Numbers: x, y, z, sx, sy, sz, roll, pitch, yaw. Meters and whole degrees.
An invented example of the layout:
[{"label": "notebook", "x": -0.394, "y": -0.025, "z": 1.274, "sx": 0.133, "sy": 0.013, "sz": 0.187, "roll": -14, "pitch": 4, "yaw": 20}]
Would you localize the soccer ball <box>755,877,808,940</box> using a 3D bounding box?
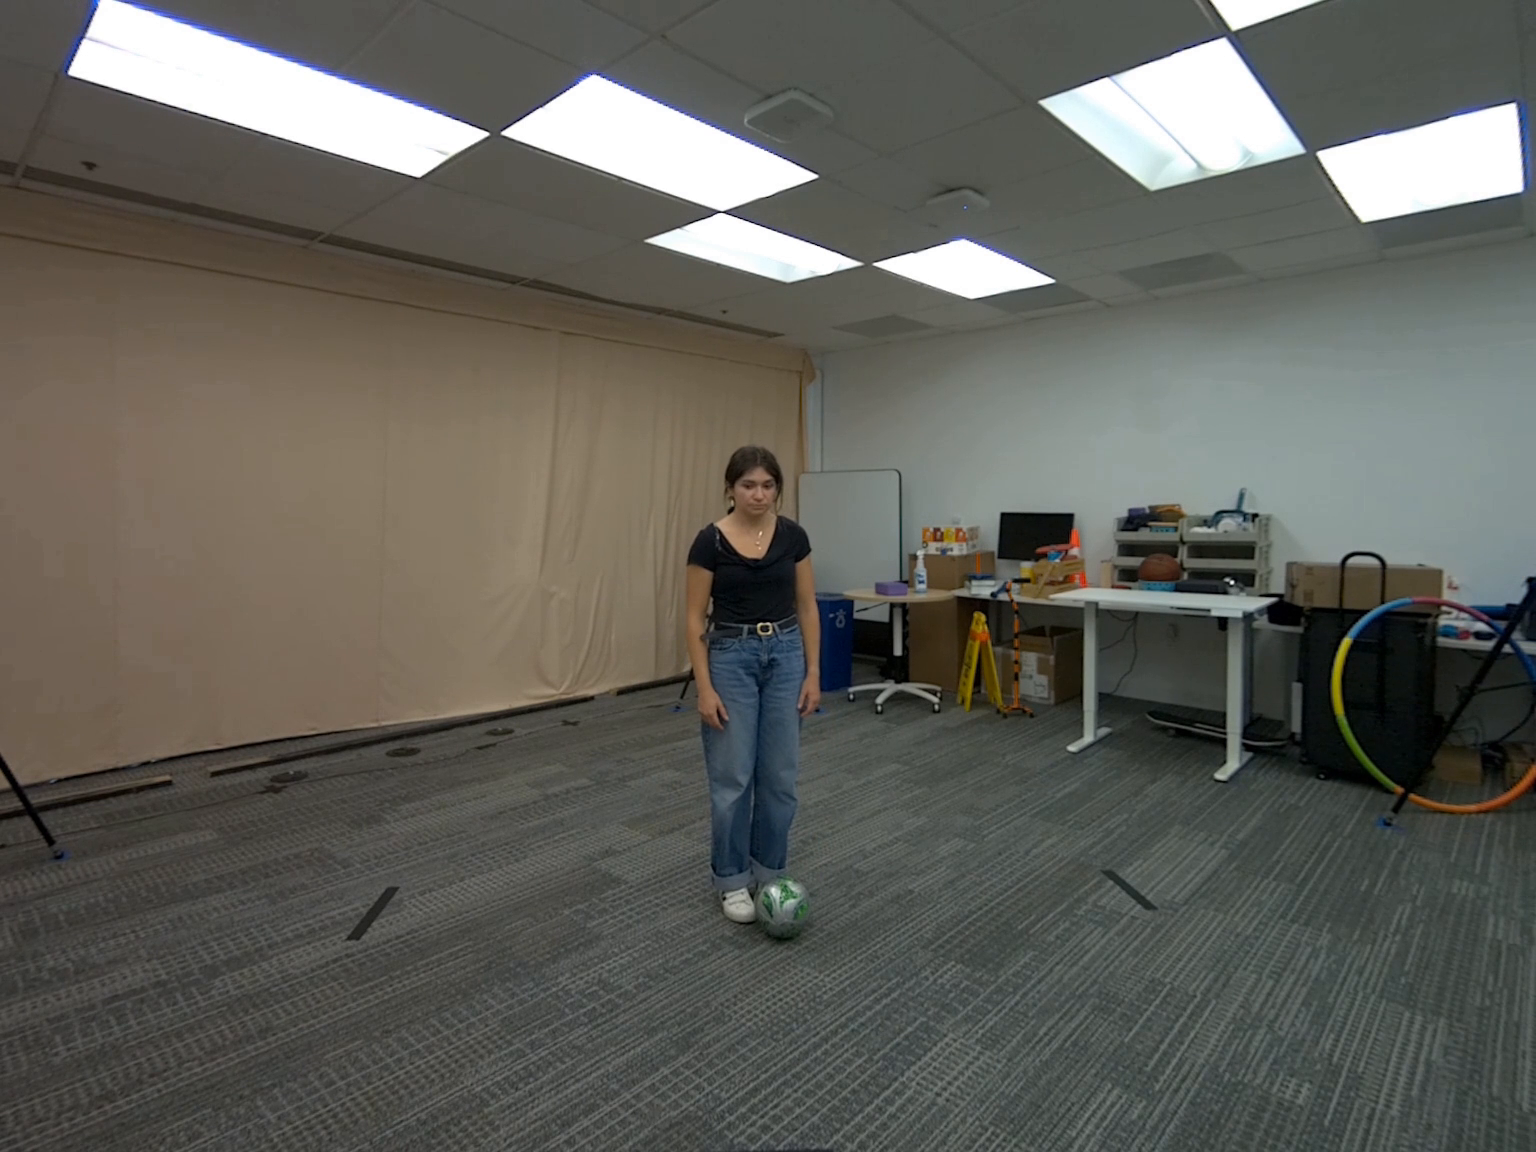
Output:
[{"label": "soccer ball", "x": 0.043, "y": 1.068, "z": 2.735, "sx": 0.187, "sy": 0.187, "sz": 0.188, "roll": 0, "pitch": 4, "yaw": -2}]
